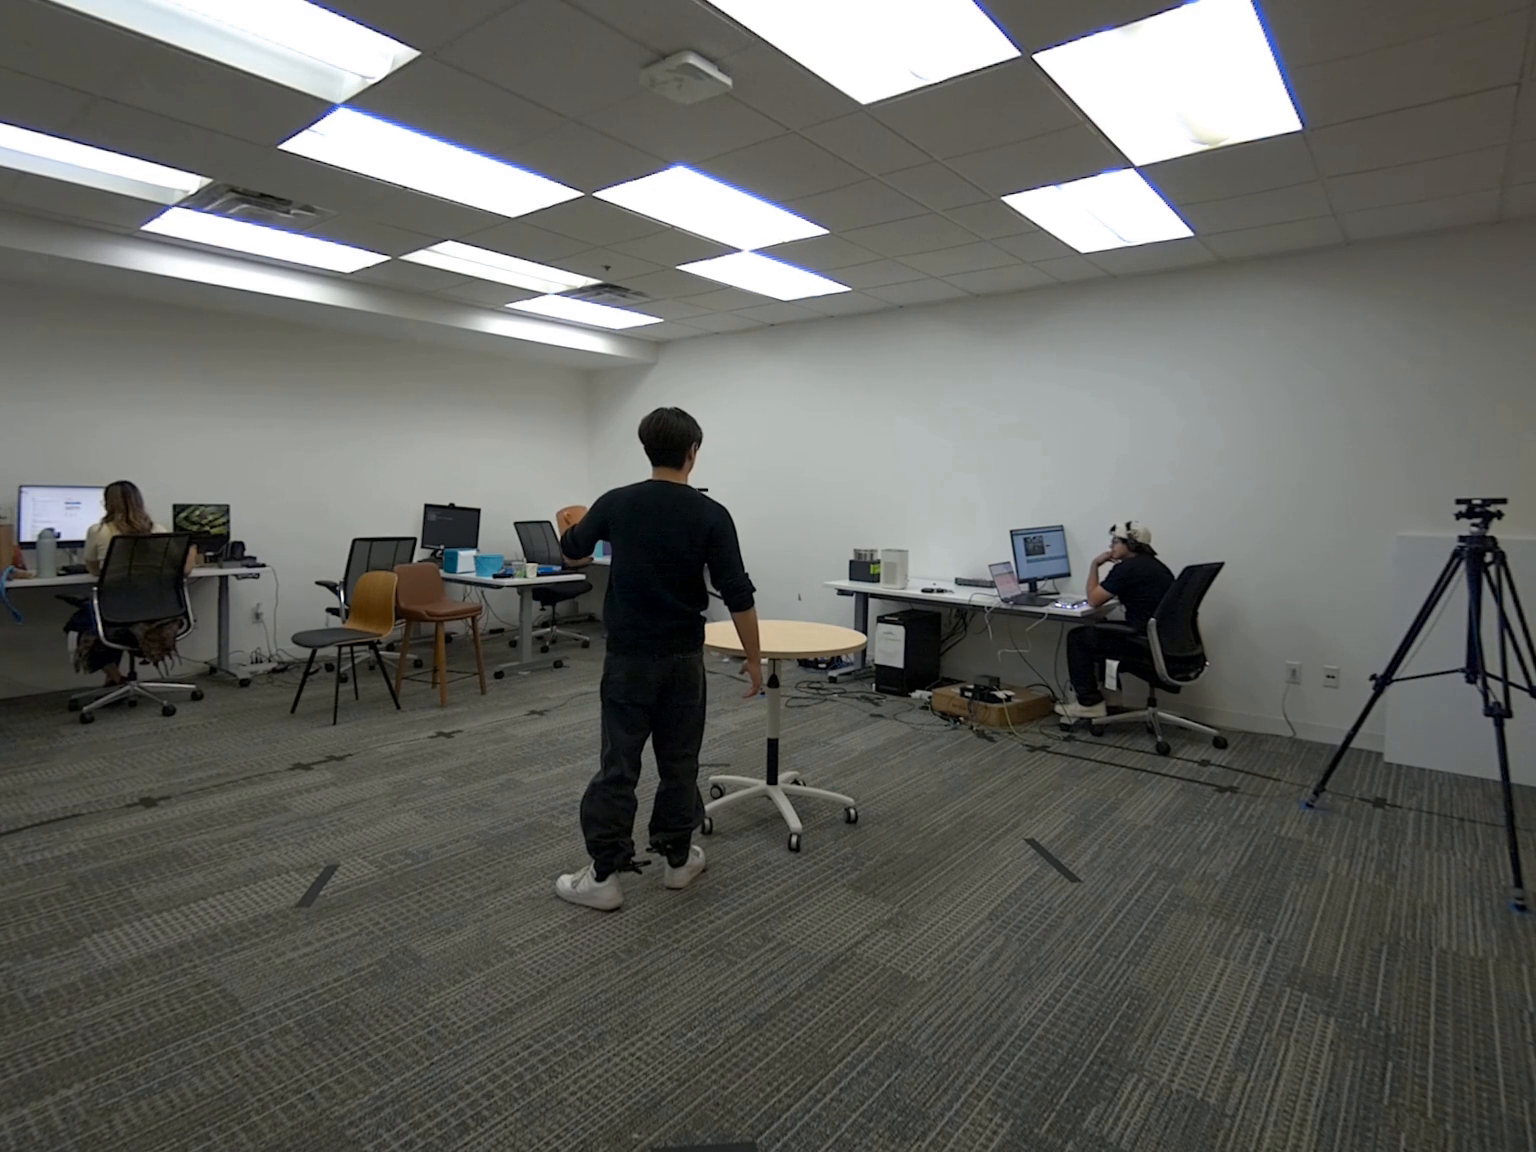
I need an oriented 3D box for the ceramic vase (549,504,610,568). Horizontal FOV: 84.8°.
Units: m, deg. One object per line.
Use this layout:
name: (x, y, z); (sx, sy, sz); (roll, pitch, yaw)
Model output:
ceramic vase: (-0.777, -0.164, 3.446); (0.154, 0.224, 0.136); (0, -22, -42)
